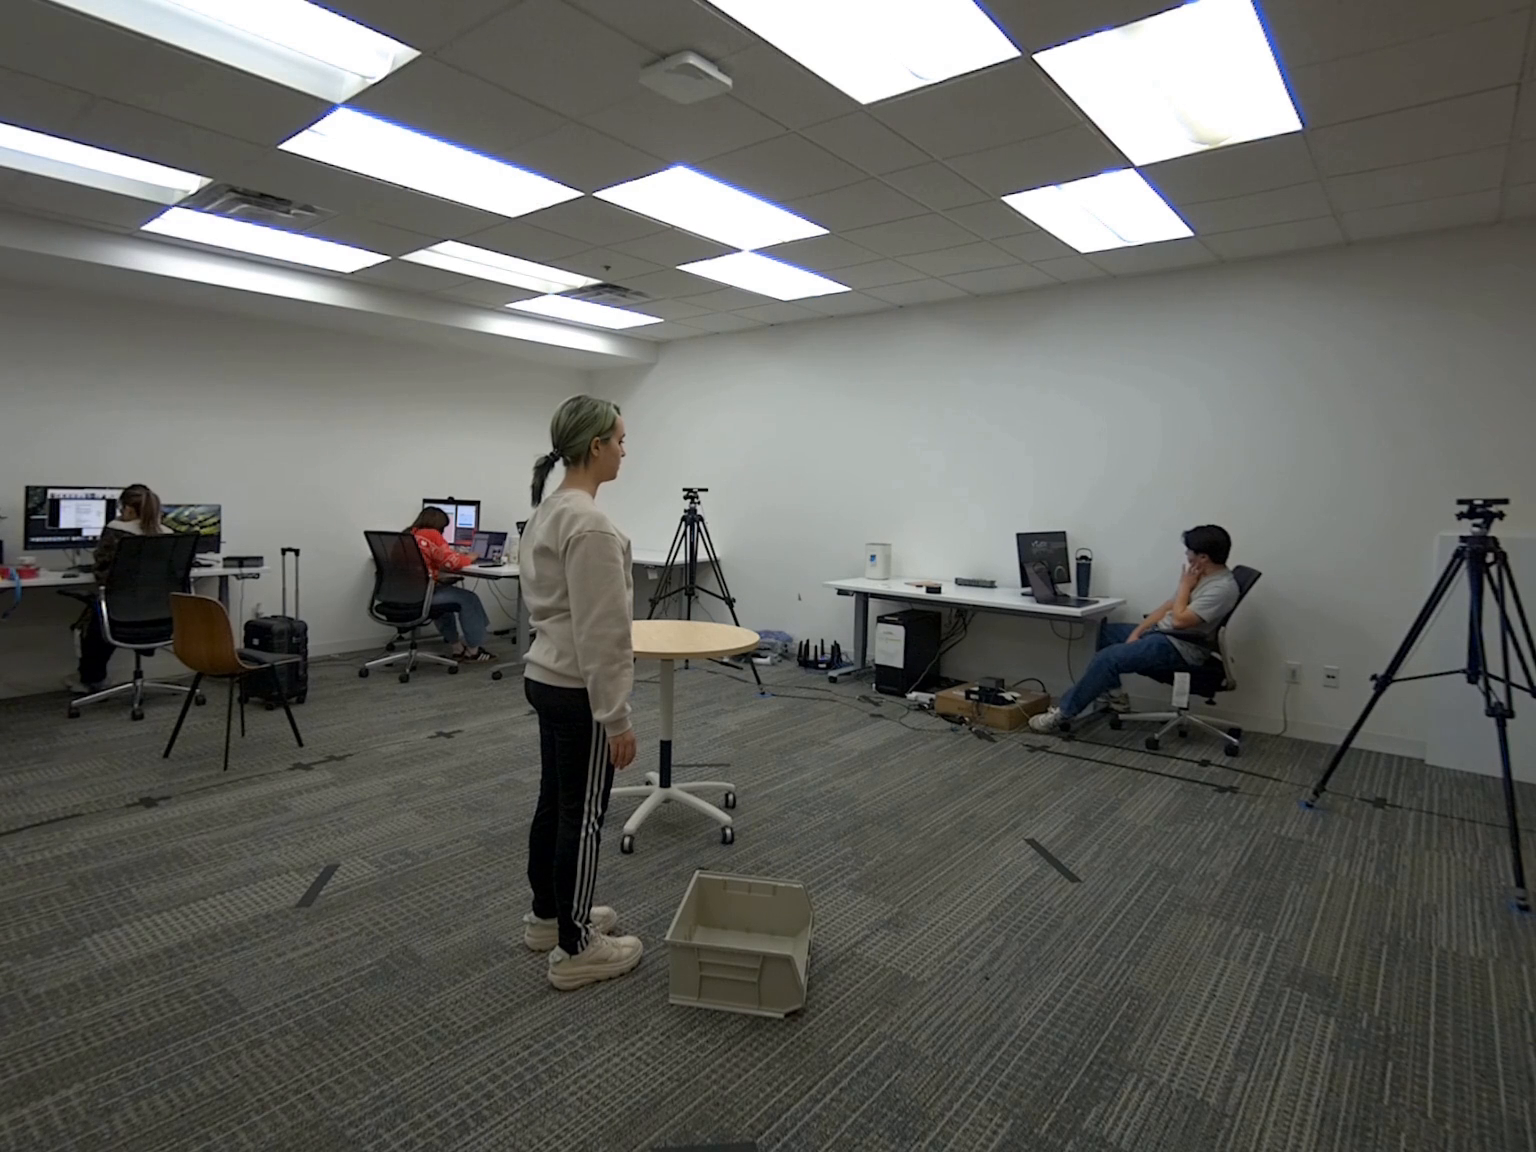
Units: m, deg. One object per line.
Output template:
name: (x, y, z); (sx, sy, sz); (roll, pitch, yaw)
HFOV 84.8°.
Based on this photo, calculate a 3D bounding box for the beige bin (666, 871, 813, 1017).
beige bin: (-0.074, 1.053, 2.448); (0.381, 0.188, 0.420); (1, 6, 8)
